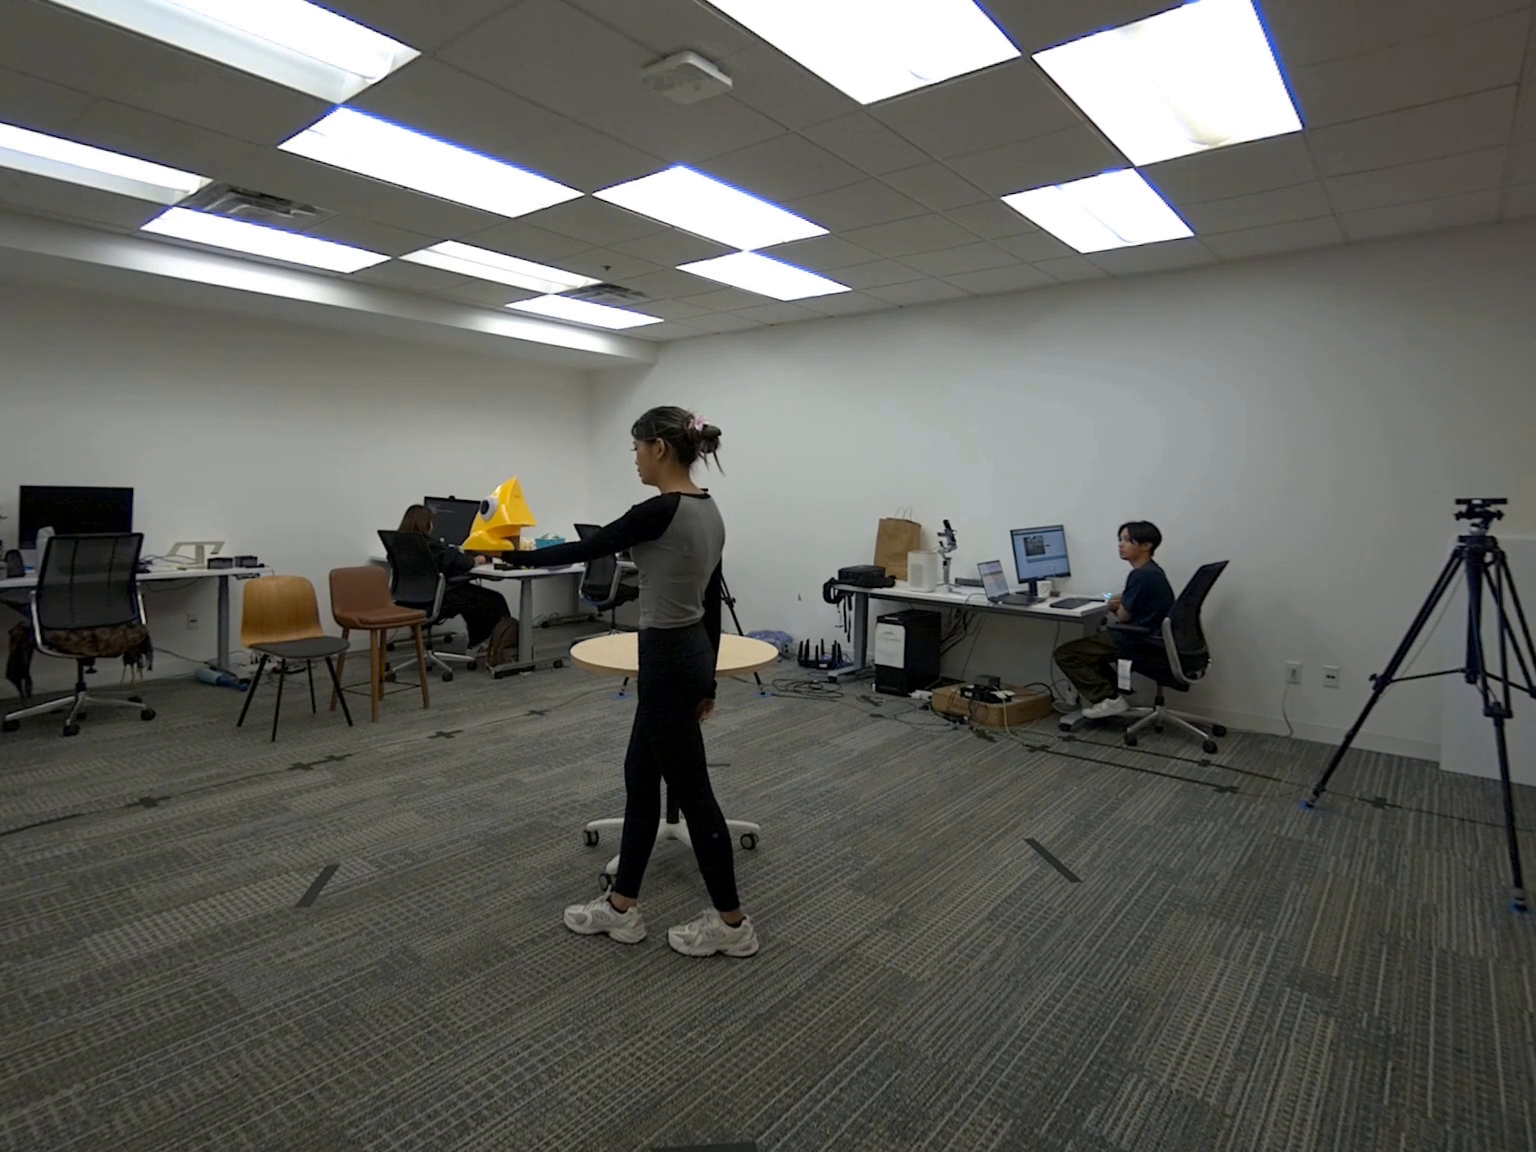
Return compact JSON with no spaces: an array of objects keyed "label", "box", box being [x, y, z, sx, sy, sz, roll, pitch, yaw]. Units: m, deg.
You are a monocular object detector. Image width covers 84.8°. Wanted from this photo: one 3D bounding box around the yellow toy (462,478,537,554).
[{"label":"yellow toy","box":[-0.863,-0.198,2.678,0.195,0.231,0.203,0,1,9]}]
